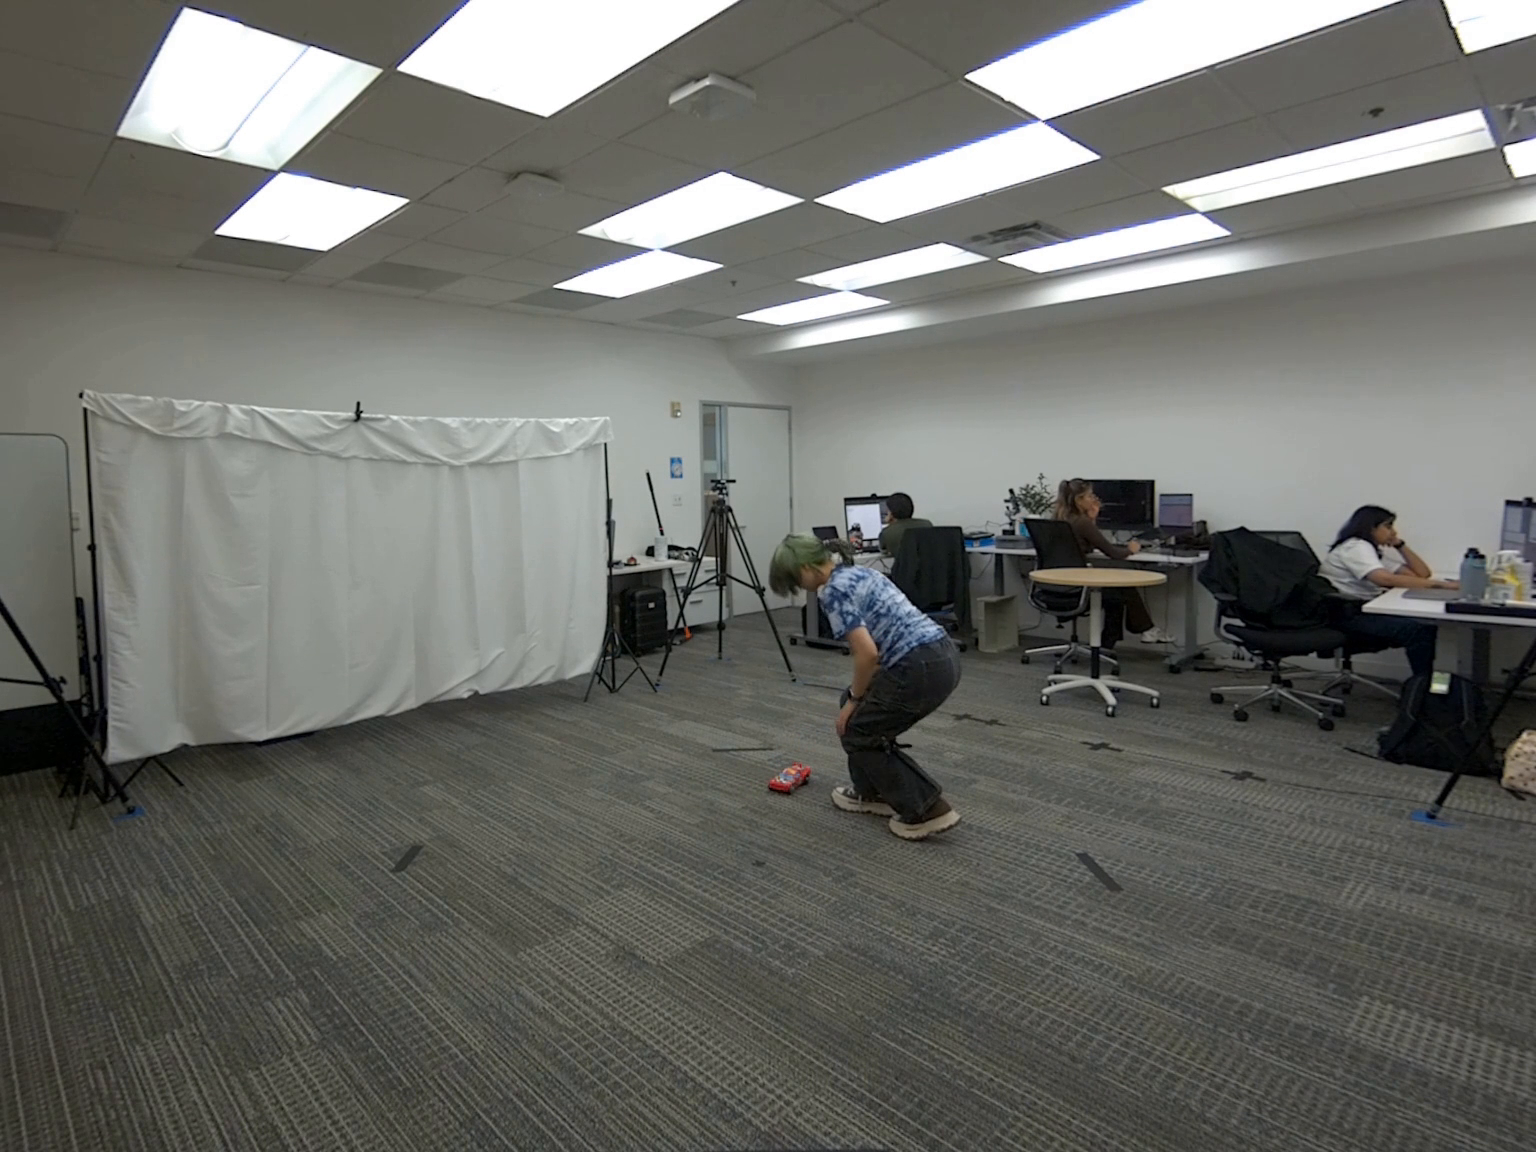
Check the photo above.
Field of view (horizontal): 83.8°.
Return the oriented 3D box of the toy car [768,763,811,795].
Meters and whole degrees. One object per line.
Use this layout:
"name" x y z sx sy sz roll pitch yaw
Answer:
"toy car" 0.105 0.926 3.904 0.134 0.082 0.251 2 17 31
